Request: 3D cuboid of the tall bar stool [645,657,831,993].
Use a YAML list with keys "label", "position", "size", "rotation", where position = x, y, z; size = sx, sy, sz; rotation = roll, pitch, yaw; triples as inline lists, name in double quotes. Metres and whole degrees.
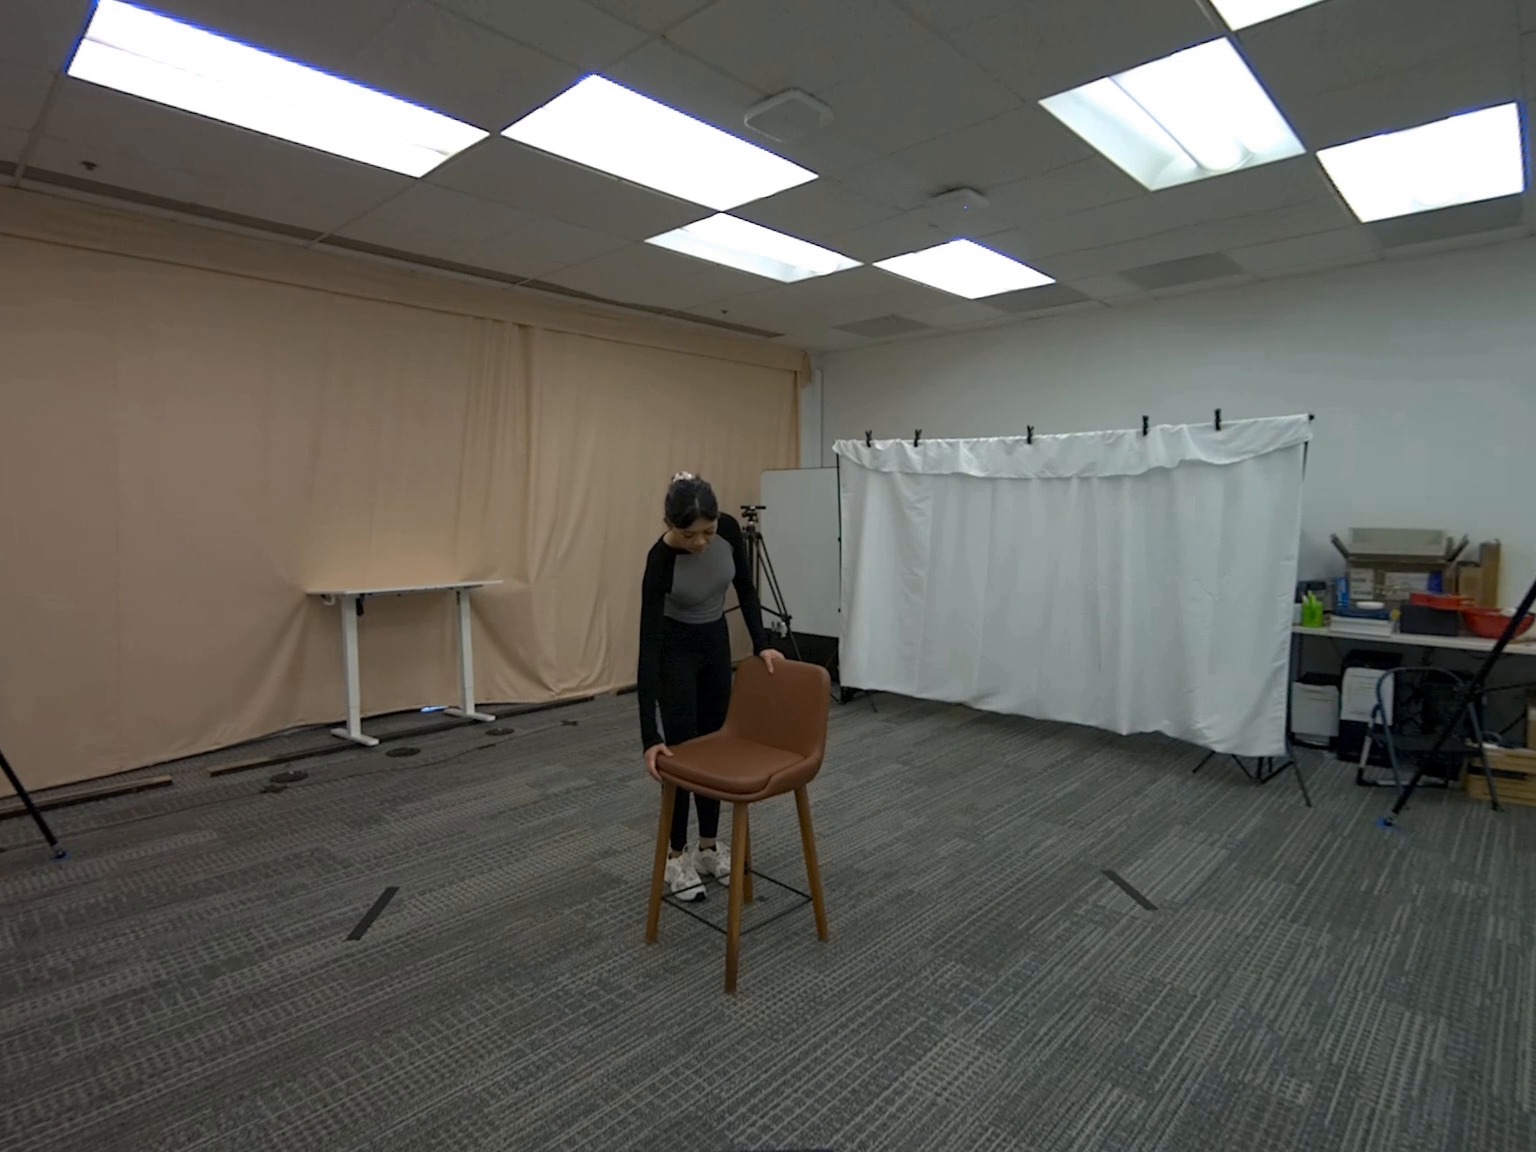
- label: "tall bar stool"
  position: [-0.080, 0.733, 2.670]
  size: [0.453, 0.889, 0.472]
  rotation: [0, 3, -44]
